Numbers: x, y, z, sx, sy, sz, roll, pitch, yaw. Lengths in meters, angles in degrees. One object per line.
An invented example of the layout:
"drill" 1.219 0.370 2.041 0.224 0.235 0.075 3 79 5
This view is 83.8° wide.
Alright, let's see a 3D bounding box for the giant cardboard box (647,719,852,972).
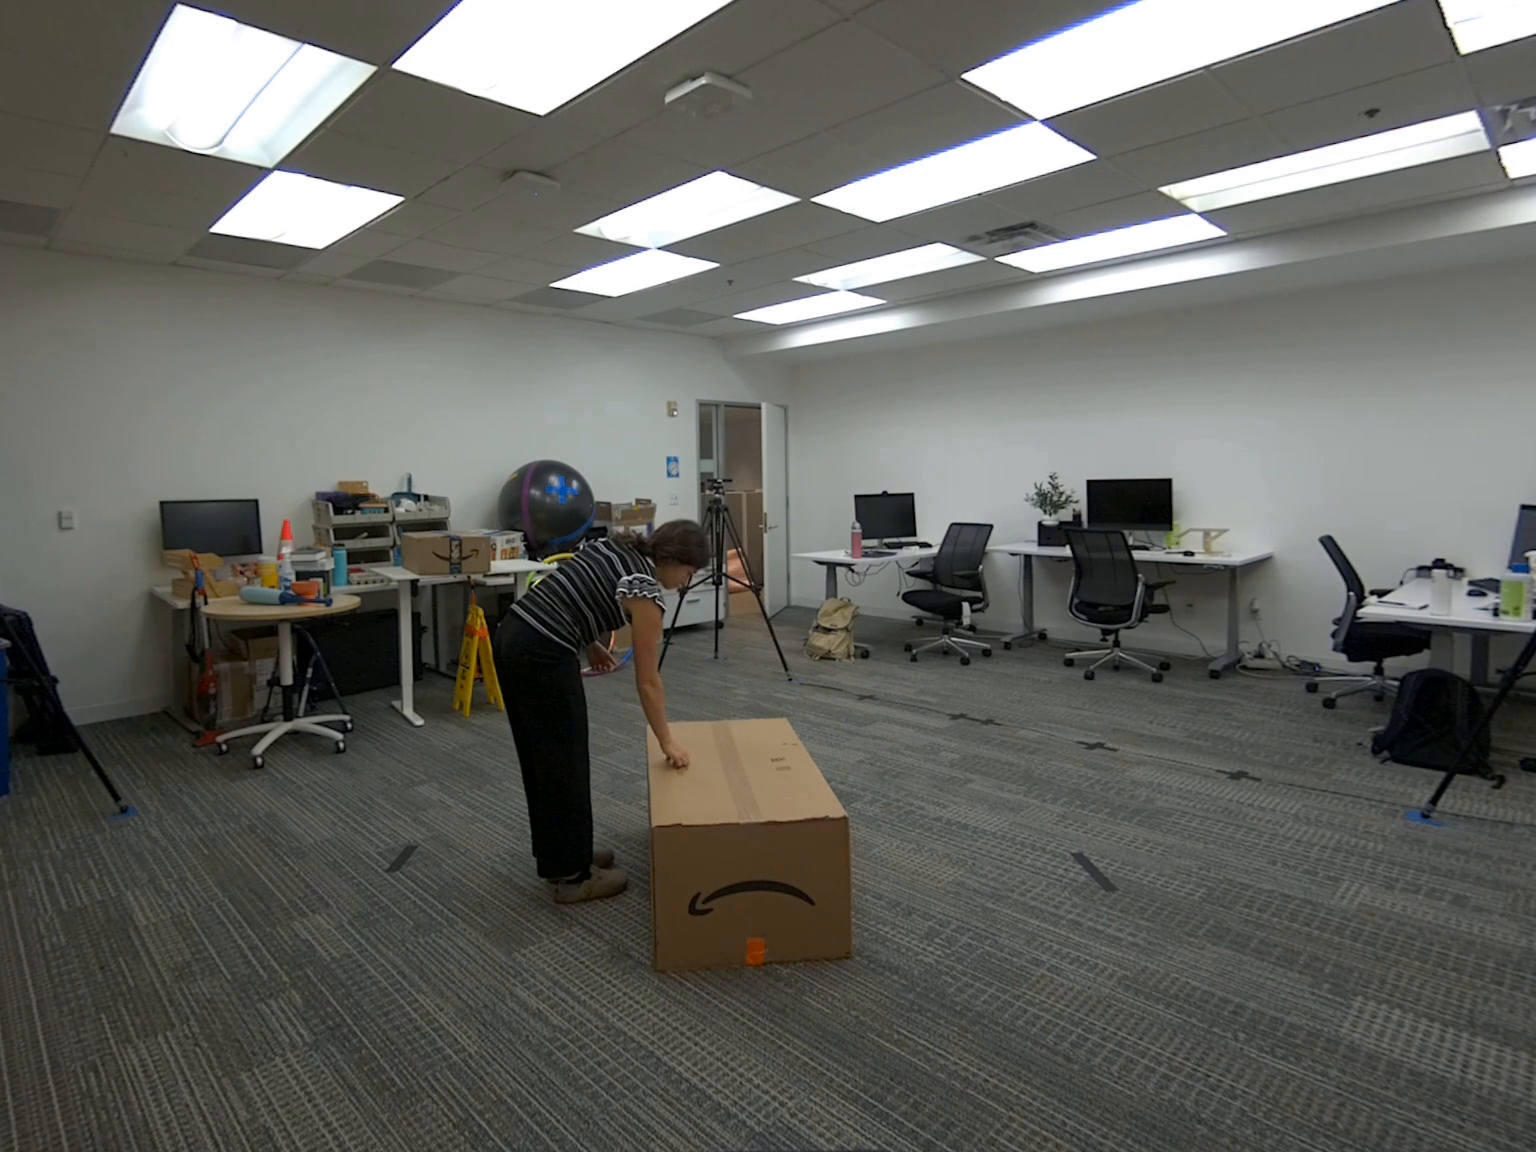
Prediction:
"giant cardboard box" -0.121 0.854 2.949 0.574 0.424 1.038 -2 6 -8
